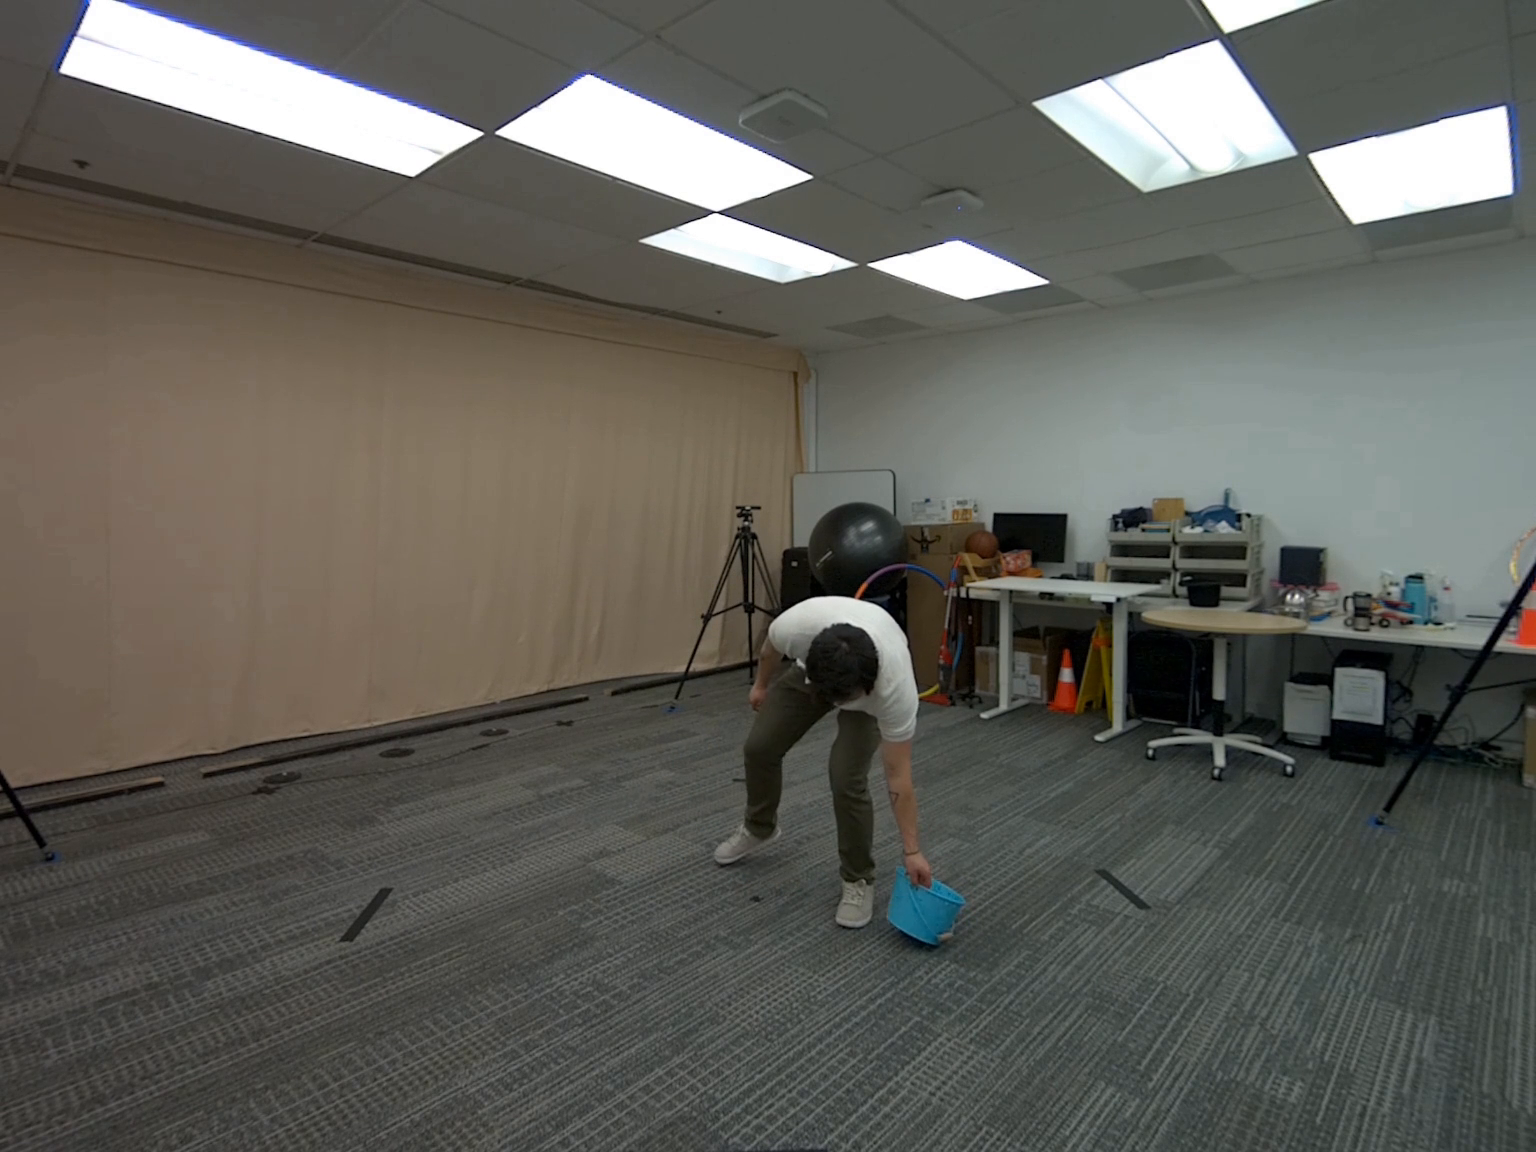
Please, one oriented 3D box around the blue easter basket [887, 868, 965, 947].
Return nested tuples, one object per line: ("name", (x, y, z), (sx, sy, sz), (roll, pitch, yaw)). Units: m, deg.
("blue easter basket", (0.506, 1.064, 2.695), (0.244, 0.156, 0.243), (21, -6, 0))
